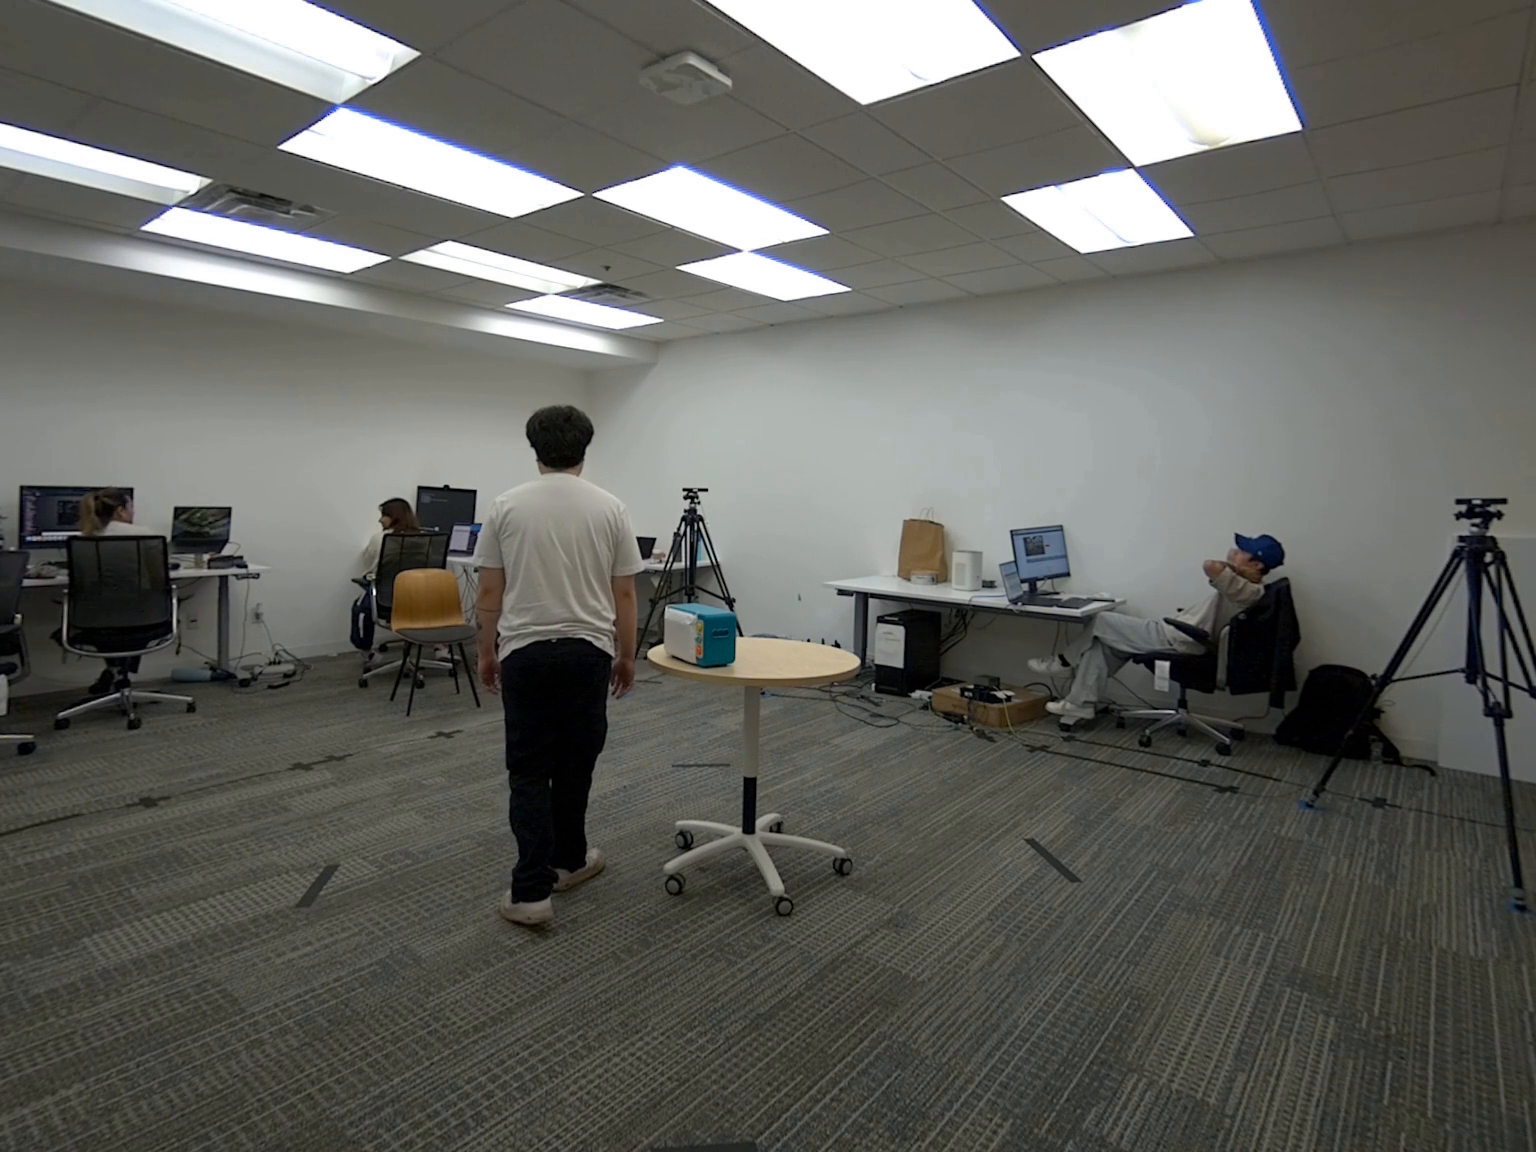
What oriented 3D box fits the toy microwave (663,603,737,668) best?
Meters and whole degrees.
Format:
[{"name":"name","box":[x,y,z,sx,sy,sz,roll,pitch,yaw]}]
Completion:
[{"name":"toy microwave","box":[-0.254,0.202,2.937,0.148,0.183,0.295,-2,6,-35]}]
